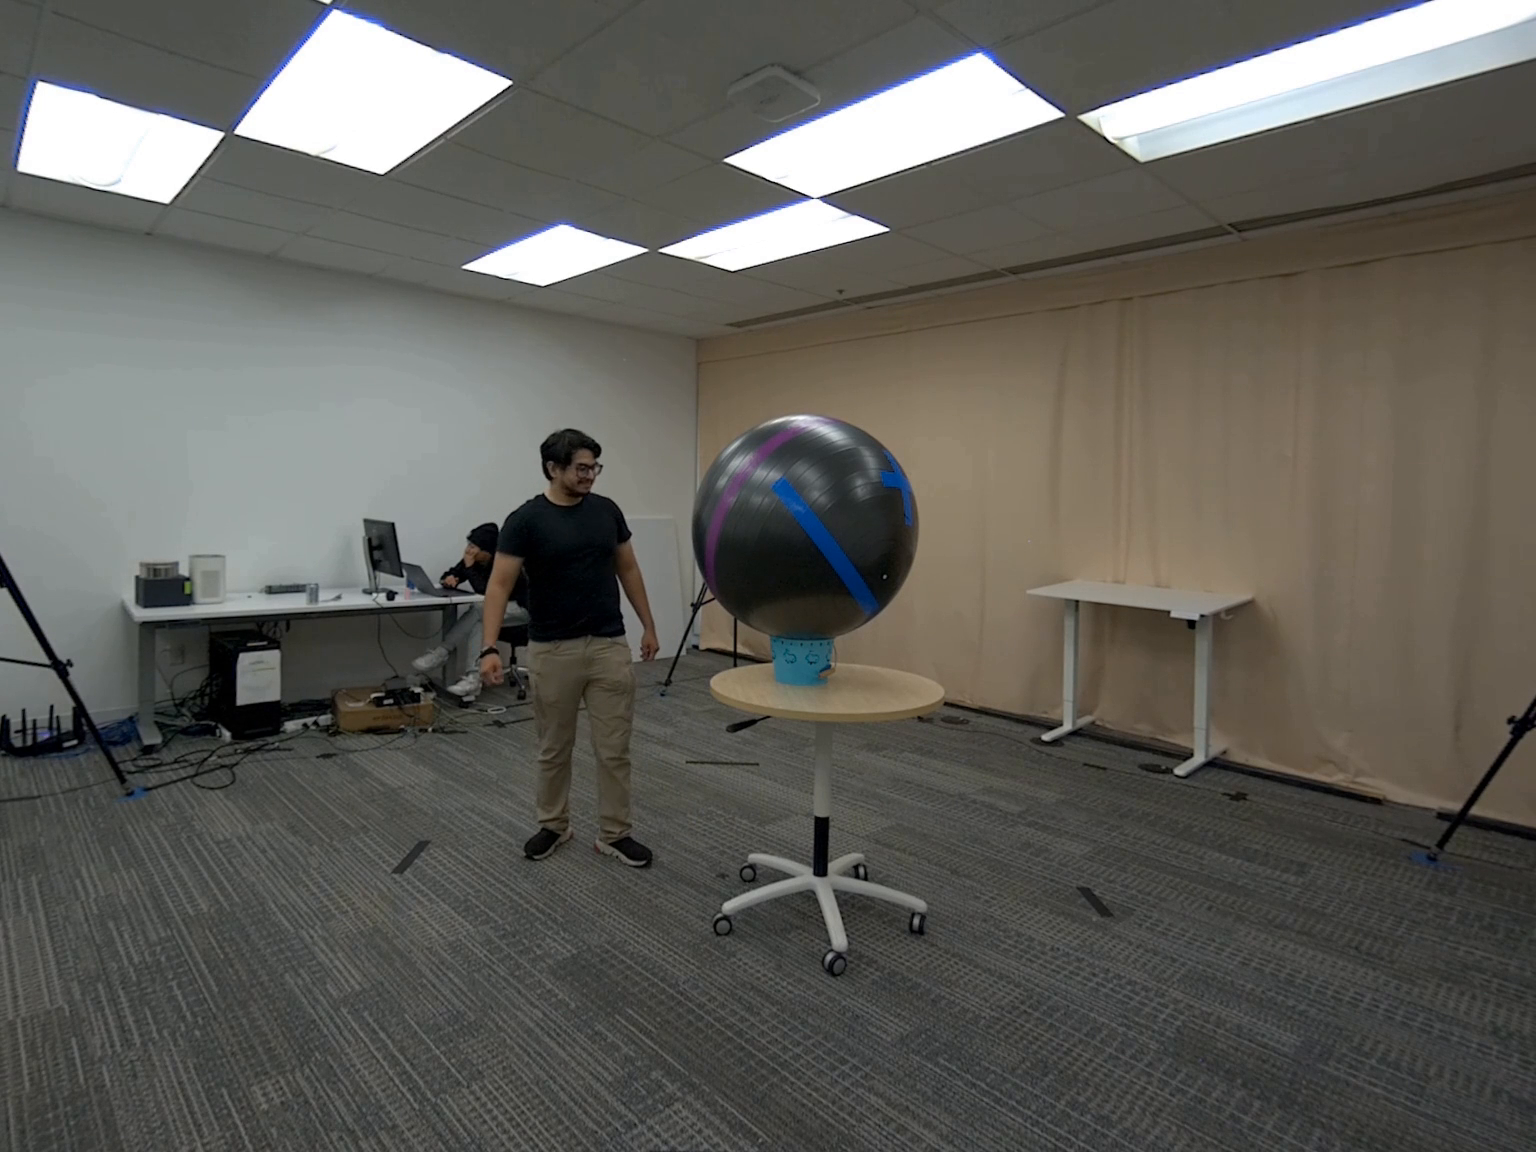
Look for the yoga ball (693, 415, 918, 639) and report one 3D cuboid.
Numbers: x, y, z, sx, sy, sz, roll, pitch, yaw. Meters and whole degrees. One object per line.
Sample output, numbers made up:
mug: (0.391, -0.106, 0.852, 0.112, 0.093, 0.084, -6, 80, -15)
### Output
yoga ball: (0.116, -0.156, 2.834, 0.757, 0.756, 0.761, 1, 4, -1)
